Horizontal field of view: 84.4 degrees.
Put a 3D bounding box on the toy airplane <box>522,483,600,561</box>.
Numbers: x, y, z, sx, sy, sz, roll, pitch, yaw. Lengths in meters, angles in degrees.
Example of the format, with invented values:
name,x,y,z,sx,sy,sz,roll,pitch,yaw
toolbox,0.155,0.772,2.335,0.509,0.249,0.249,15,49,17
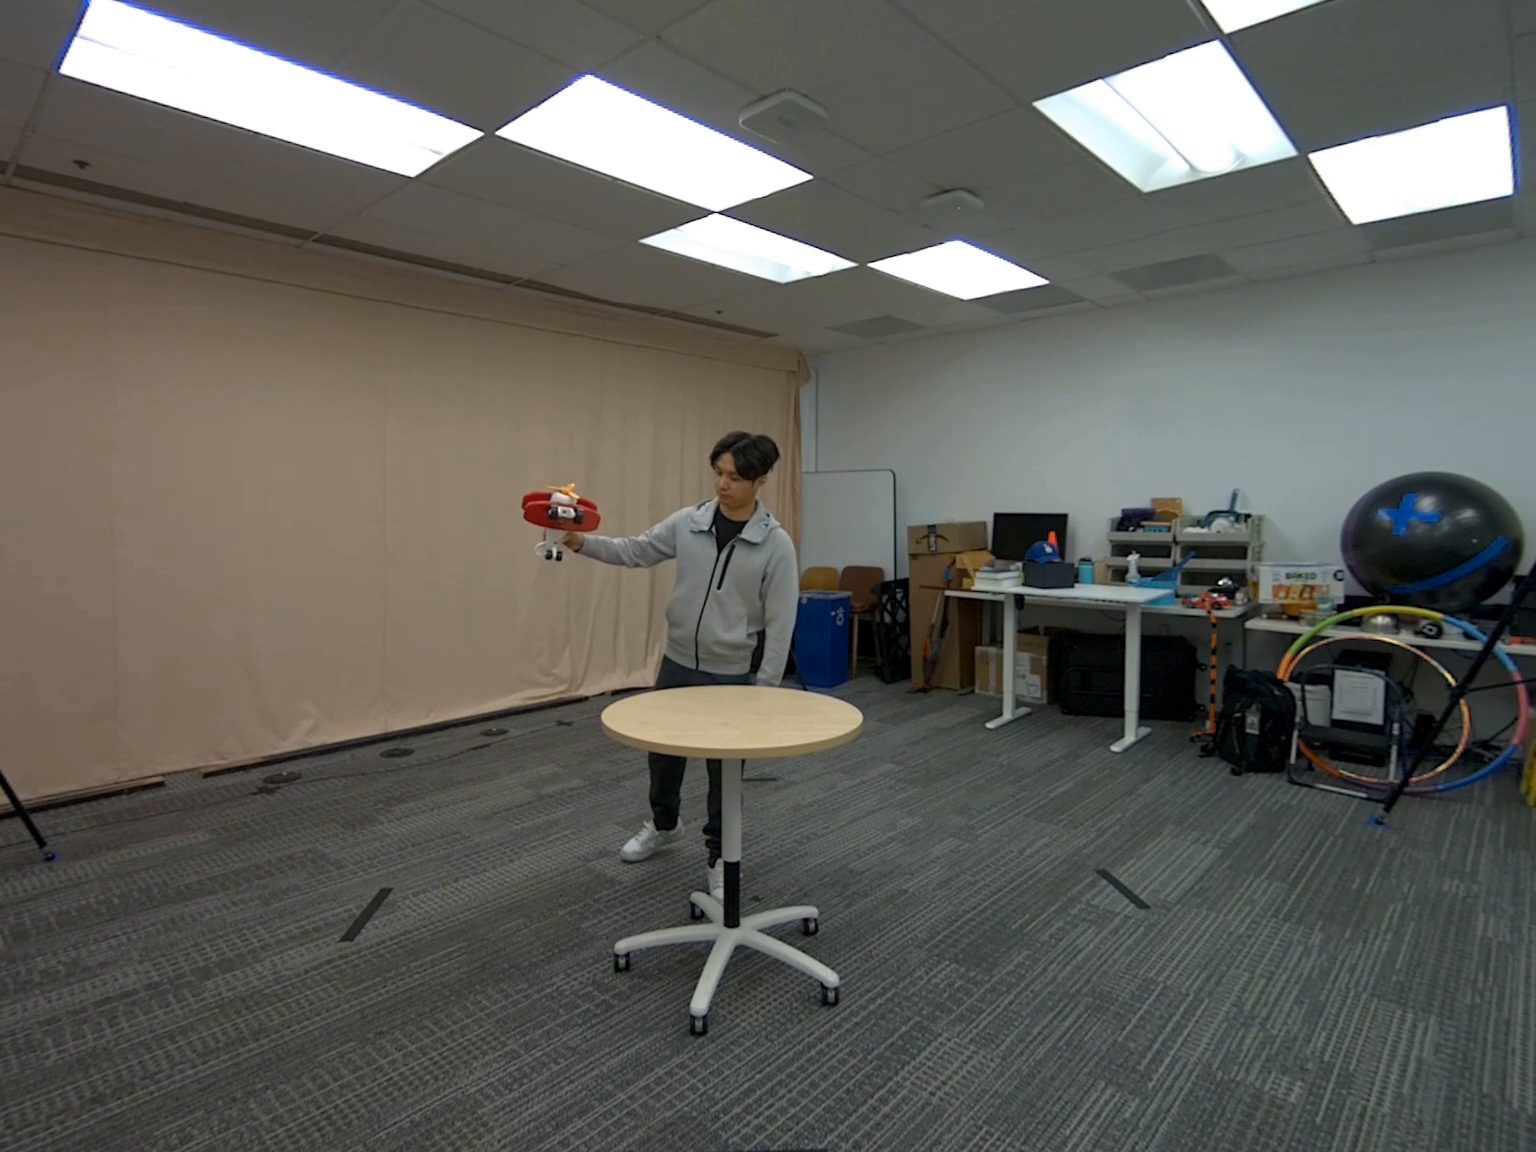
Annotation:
name,x,y,z,sx,sy,sz,roll,pitch,yaw
toy airplane,-0.722,-0.180,2.843,0.261,0.160,0.242,-38,-49,20
